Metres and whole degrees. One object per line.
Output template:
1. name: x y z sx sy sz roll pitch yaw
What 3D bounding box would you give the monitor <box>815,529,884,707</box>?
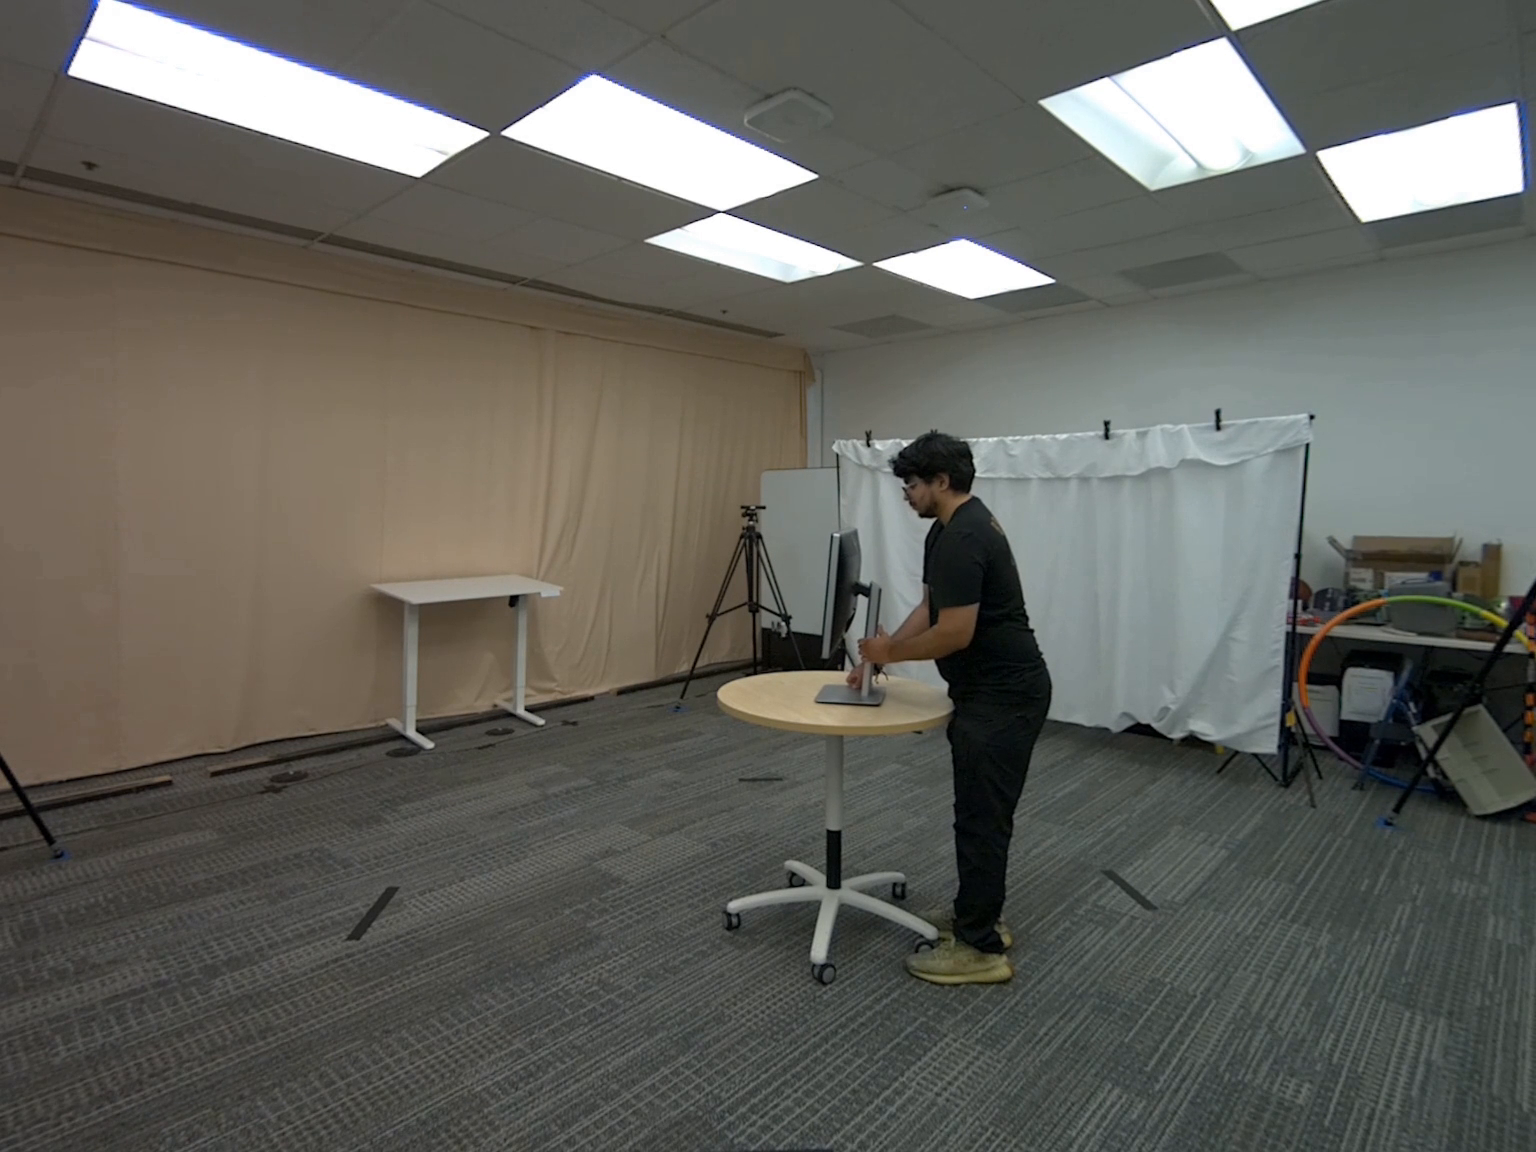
1. monitor: 0.298 0.128 2.686 0.213 0.553 0.558 3 5 13
